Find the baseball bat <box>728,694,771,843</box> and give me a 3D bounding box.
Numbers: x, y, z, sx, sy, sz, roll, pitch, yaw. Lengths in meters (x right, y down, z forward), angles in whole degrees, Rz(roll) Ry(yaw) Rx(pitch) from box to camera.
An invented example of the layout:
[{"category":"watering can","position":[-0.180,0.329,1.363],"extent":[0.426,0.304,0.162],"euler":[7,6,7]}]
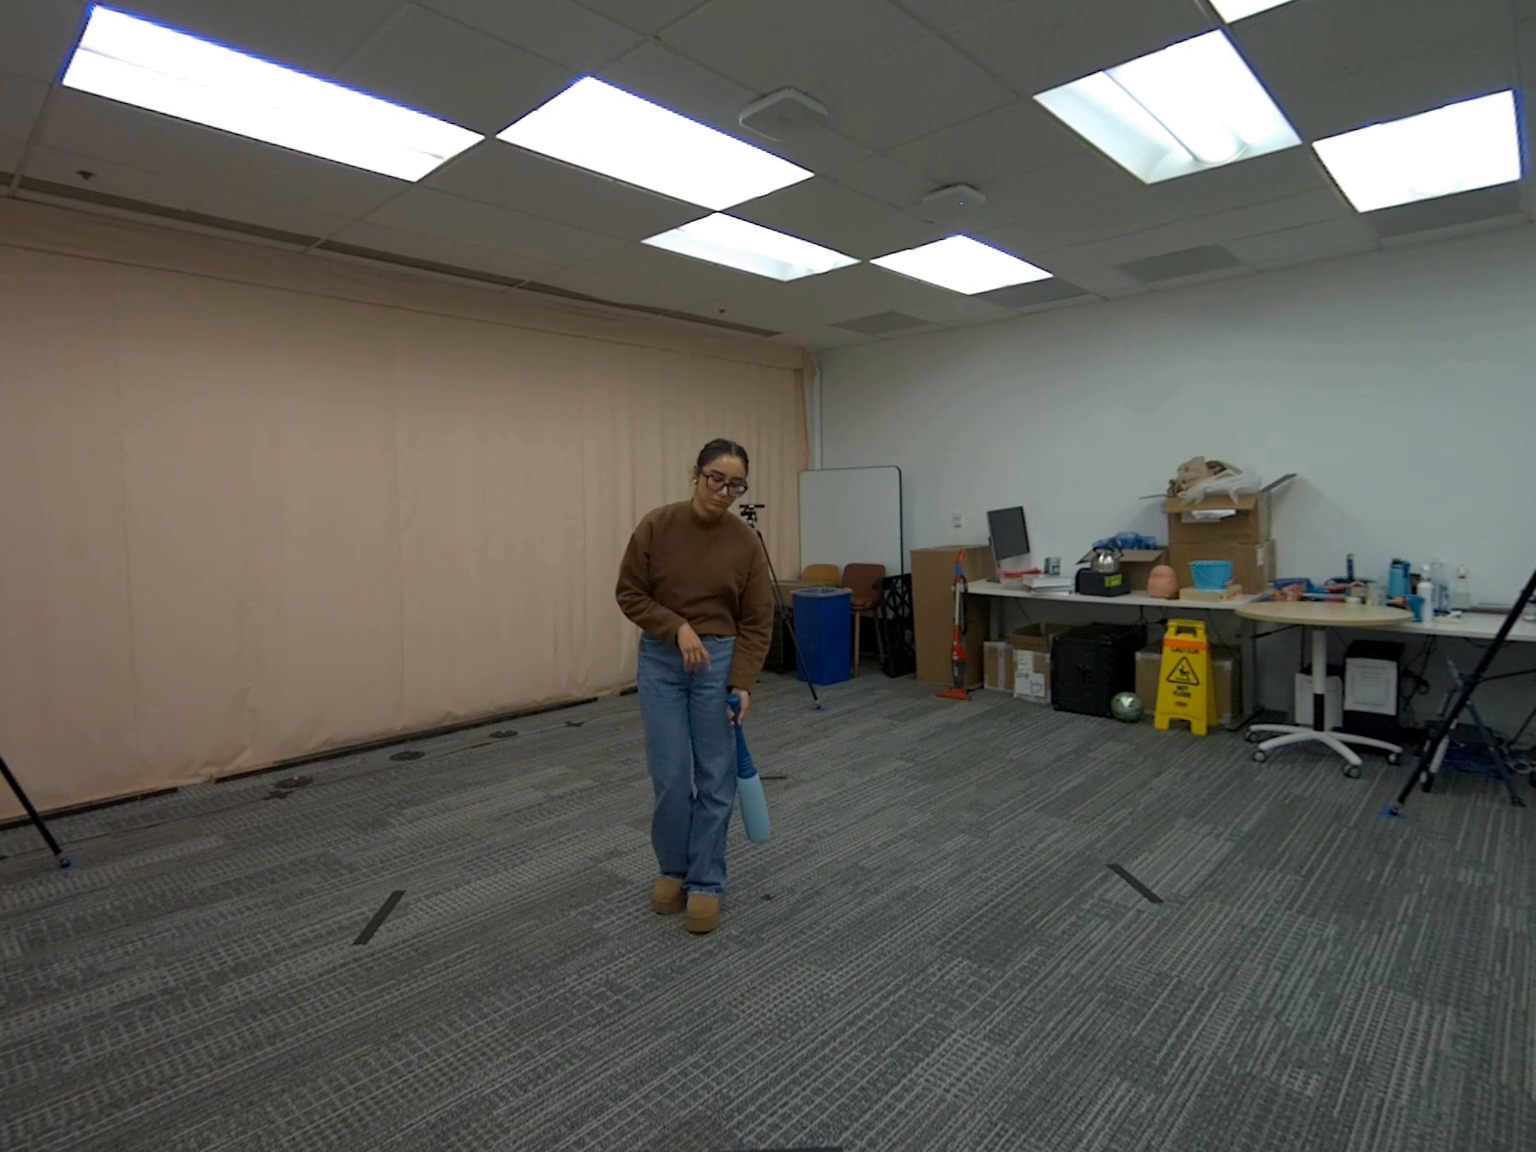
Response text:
[{"category":"baseball bat","position":[-0.064,0.648,2.805],"extent":[0.089,0.537,0.090],"euler":[-6,14,0]}]
